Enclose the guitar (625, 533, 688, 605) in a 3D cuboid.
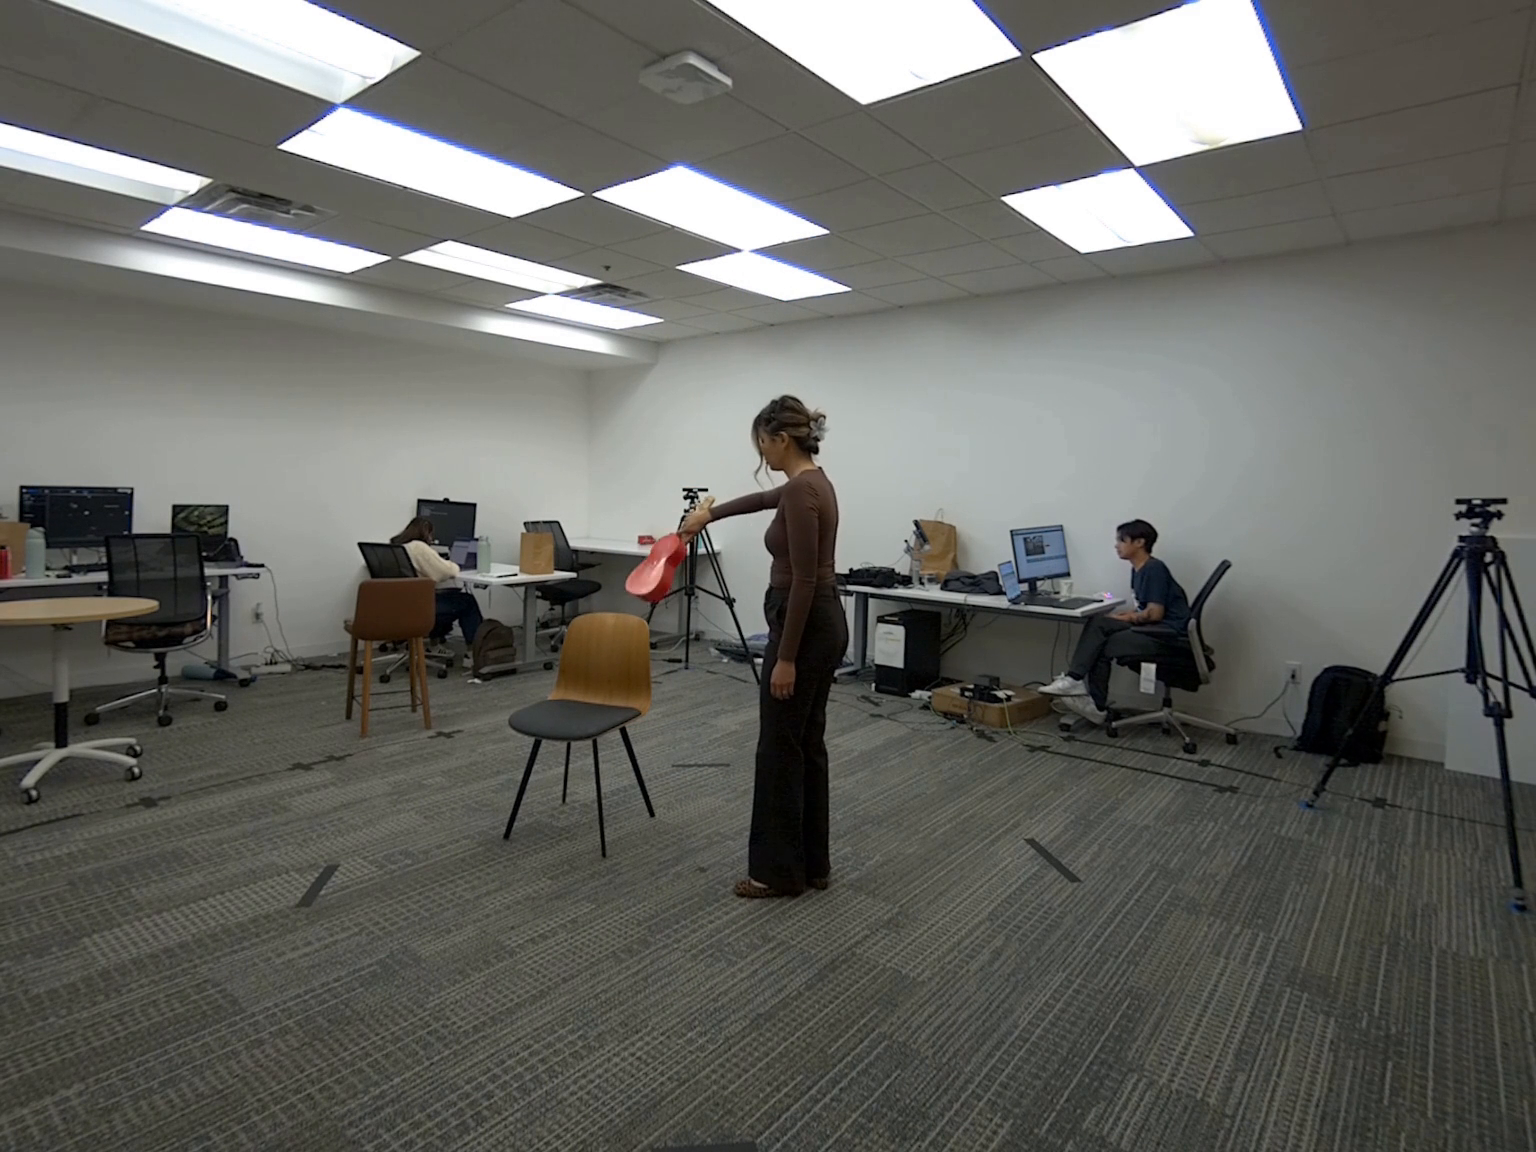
[{"bbox_3d":[-0.377,-0.122,3.258,0.199,0.502,0.068,-3,-38,46],"label":"guitar"}]
